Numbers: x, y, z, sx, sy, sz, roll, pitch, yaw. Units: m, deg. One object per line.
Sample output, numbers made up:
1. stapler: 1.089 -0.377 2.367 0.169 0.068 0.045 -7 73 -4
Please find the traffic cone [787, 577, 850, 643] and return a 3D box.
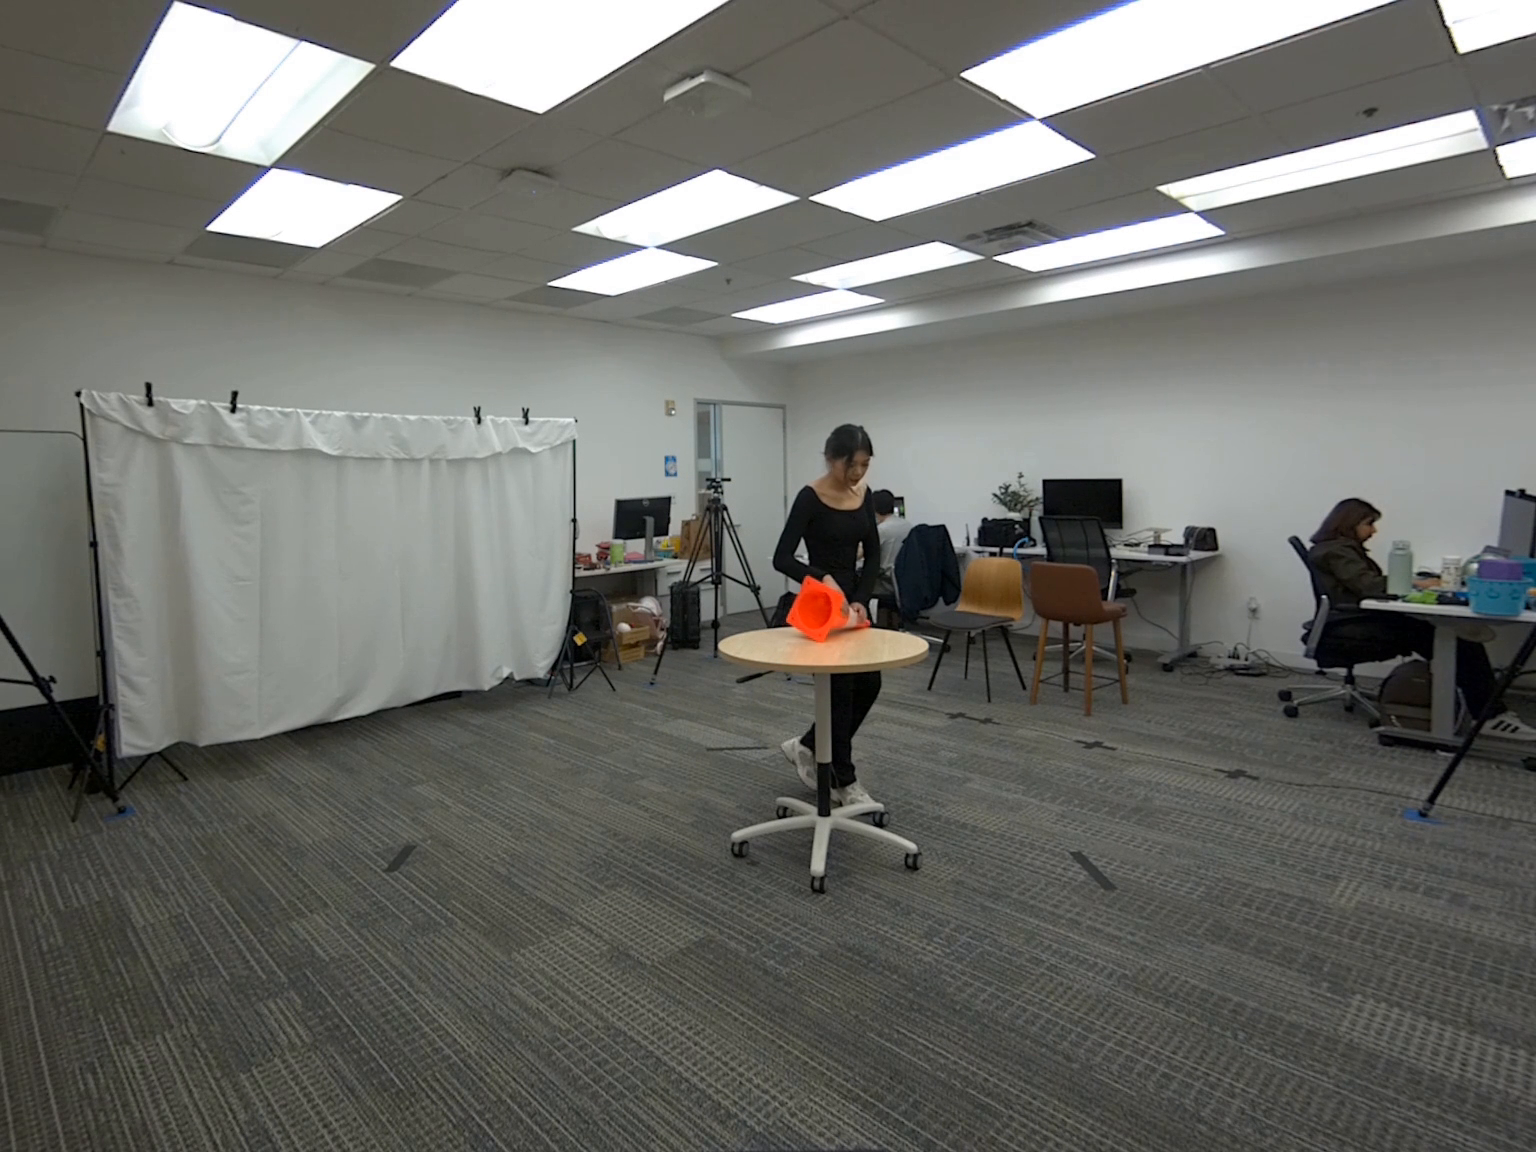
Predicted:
1. traffic cone: 0.288 0.170 3.352 0.211 0.204 0.370 31 7 42
